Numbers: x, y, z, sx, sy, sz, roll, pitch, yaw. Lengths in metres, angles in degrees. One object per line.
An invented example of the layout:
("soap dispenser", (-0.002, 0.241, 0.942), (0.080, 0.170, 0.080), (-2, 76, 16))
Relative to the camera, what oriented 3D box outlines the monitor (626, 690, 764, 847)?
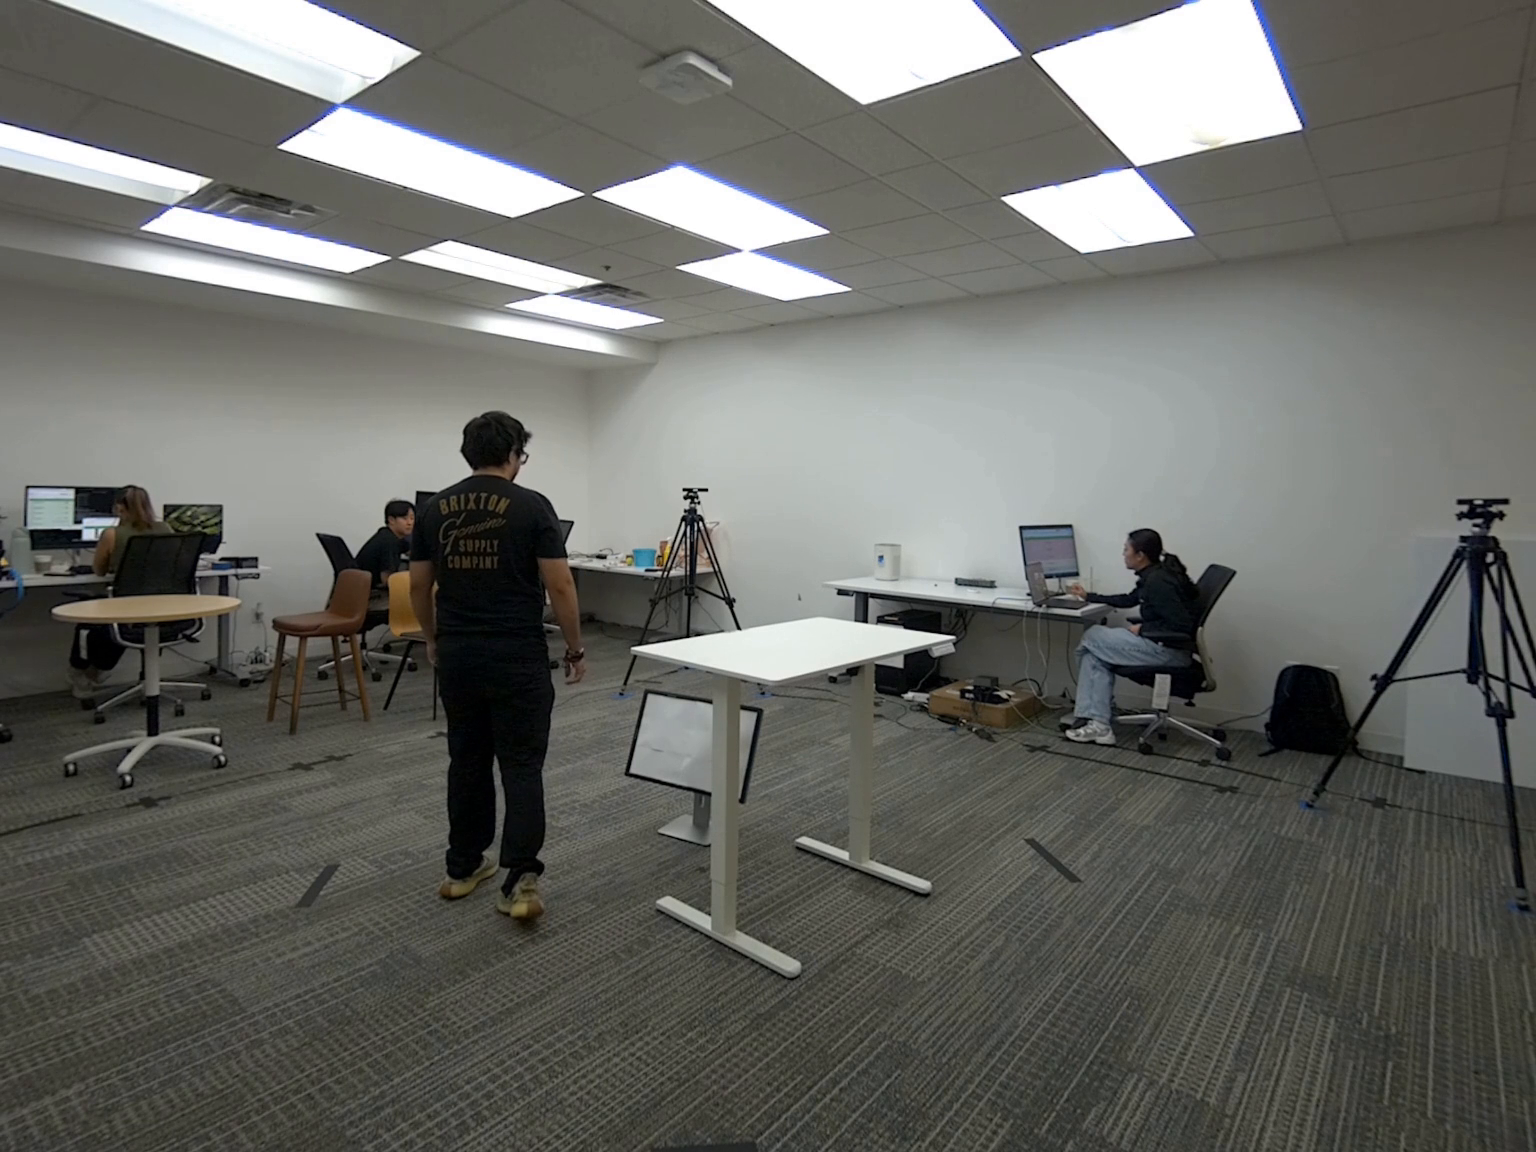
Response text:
("monitor", (-0.286, 0.767, 3.465), (0.582, 0.557, 0.203), (4, -6, 29))
